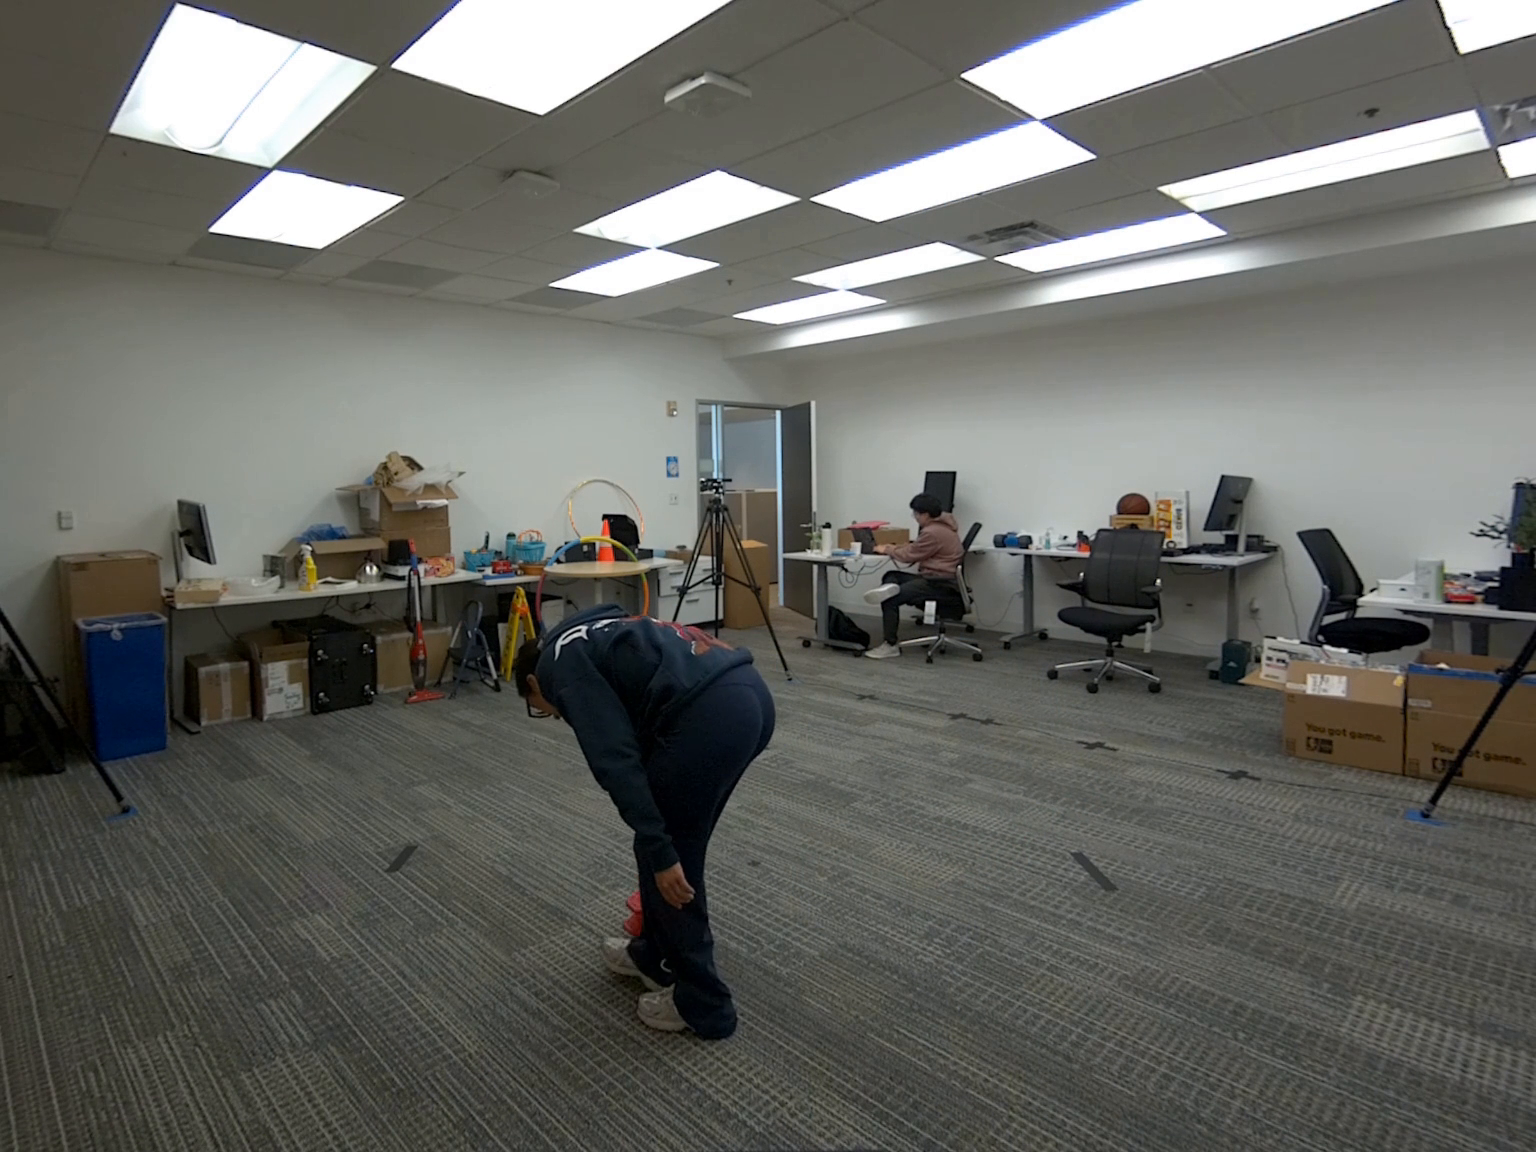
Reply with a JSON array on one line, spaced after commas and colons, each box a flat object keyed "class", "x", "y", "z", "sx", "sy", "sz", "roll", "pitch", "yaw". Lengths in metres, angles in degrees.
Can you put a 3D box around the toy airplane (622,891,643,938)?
[{"class": "toy airplane", "x": -0.287, "y": 1.035, "z": 2.619, "sx": 0.262, "sy": 0.155, "sz": 0.249, "roll": -1, "pitch": 7, "yaw": 12}]
